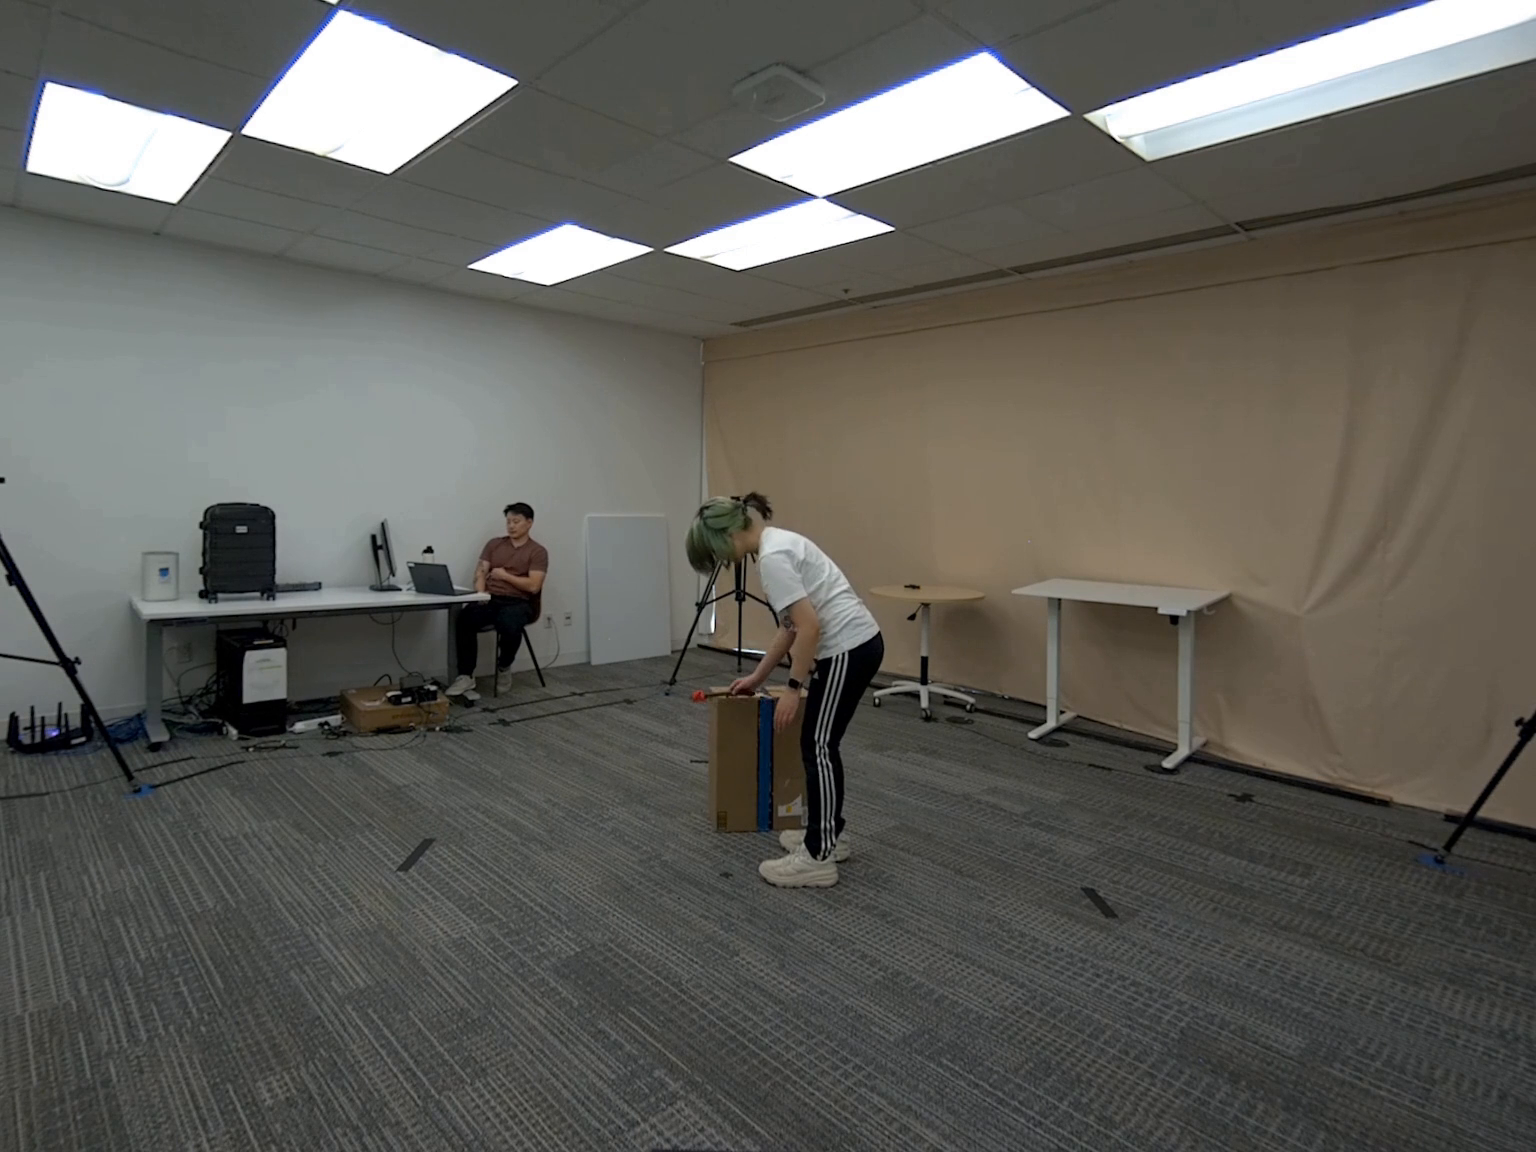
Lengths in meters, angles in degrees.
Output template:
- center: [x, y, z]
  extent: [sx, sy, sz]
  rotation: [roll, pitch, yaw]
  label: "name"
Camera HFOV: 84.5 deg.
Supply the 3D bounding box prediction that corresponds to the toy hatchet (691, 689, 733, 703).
- center: [-0.200, 0.486, 3.388]
  extent: [0.264, 0.030, 0.131]
  rotation: [7, -27, -28]
  label: "toy hatchet"
